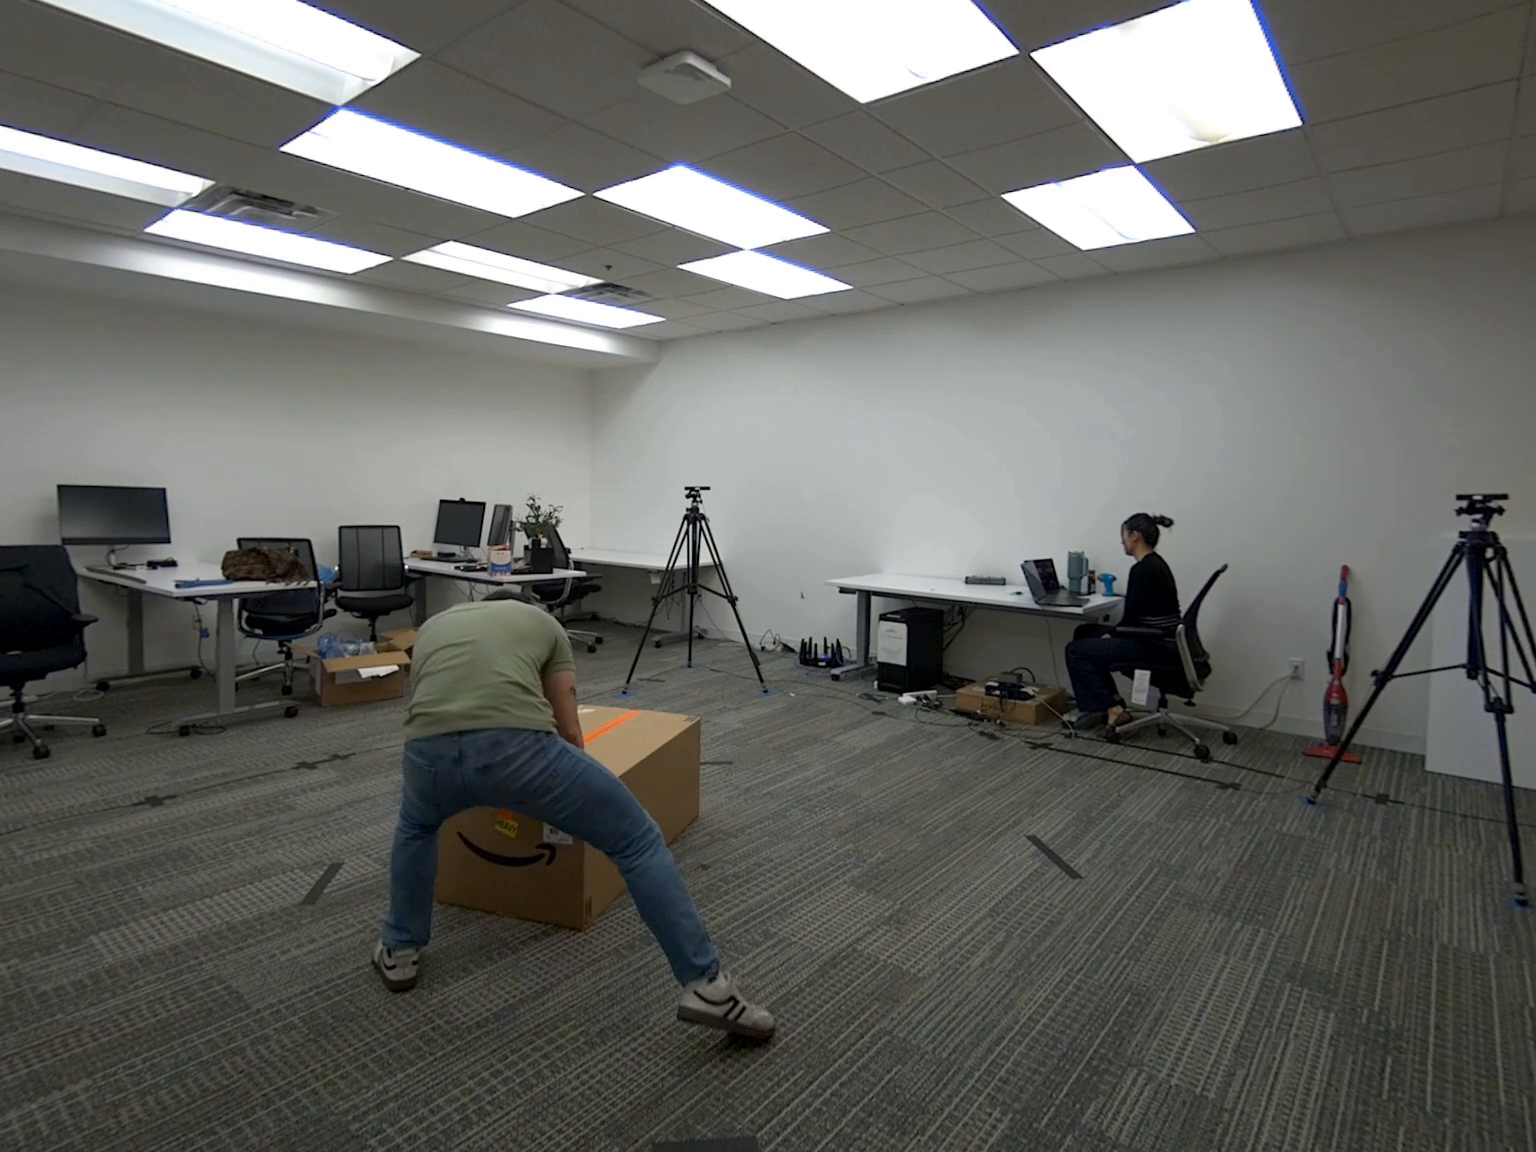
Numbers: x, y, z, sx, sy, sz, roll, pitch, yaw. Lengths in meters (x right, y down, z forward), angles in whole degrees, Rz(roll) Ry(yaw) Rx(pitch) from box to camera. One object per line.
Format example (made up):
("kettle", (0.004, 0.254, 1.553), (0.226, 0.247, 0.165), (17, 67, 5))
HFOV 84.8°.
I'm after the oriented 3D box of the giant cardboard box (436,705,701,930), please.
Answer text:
("giant cardboard box", (-0.710, 0.837, 3.212), (0.589, 0.424, 1.011), (1, 6, 17))
